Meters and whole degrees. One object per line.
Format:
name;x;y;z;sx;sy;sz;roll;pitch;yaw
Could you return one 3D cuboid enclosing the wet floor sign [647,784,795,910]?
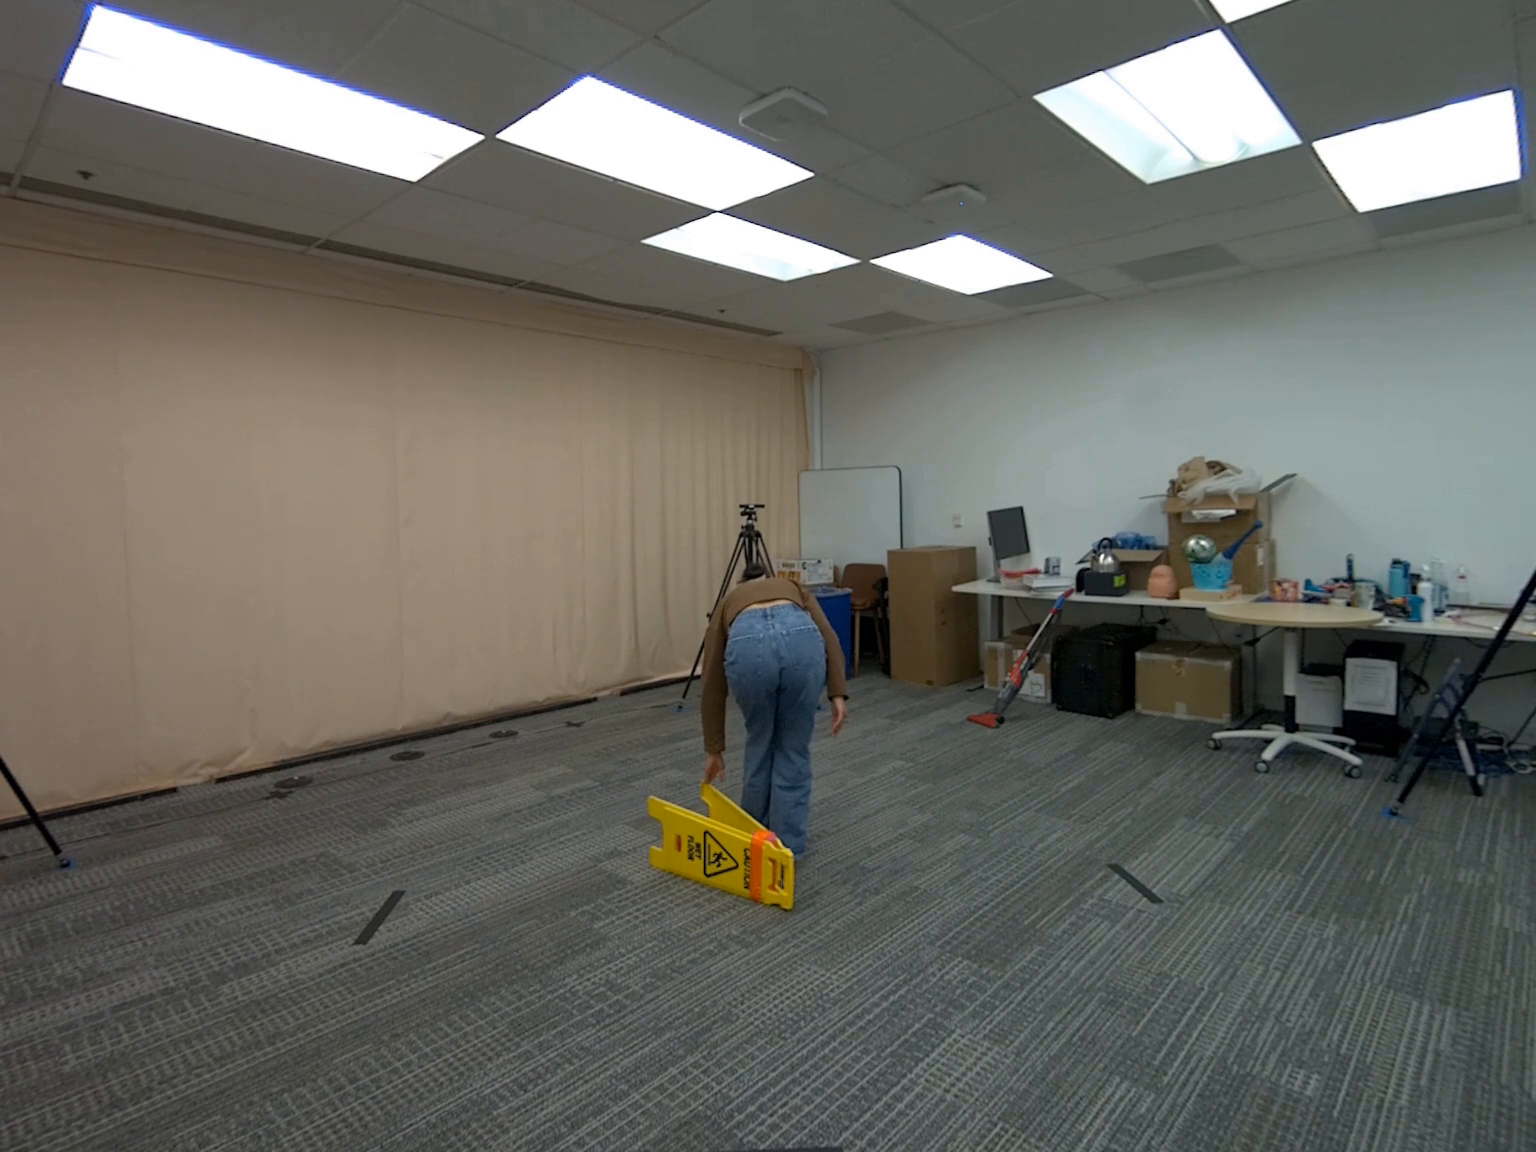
wet floor sign;-0.135;1.003;3.109;0.281;0.281;0.668;-5;9;-42
